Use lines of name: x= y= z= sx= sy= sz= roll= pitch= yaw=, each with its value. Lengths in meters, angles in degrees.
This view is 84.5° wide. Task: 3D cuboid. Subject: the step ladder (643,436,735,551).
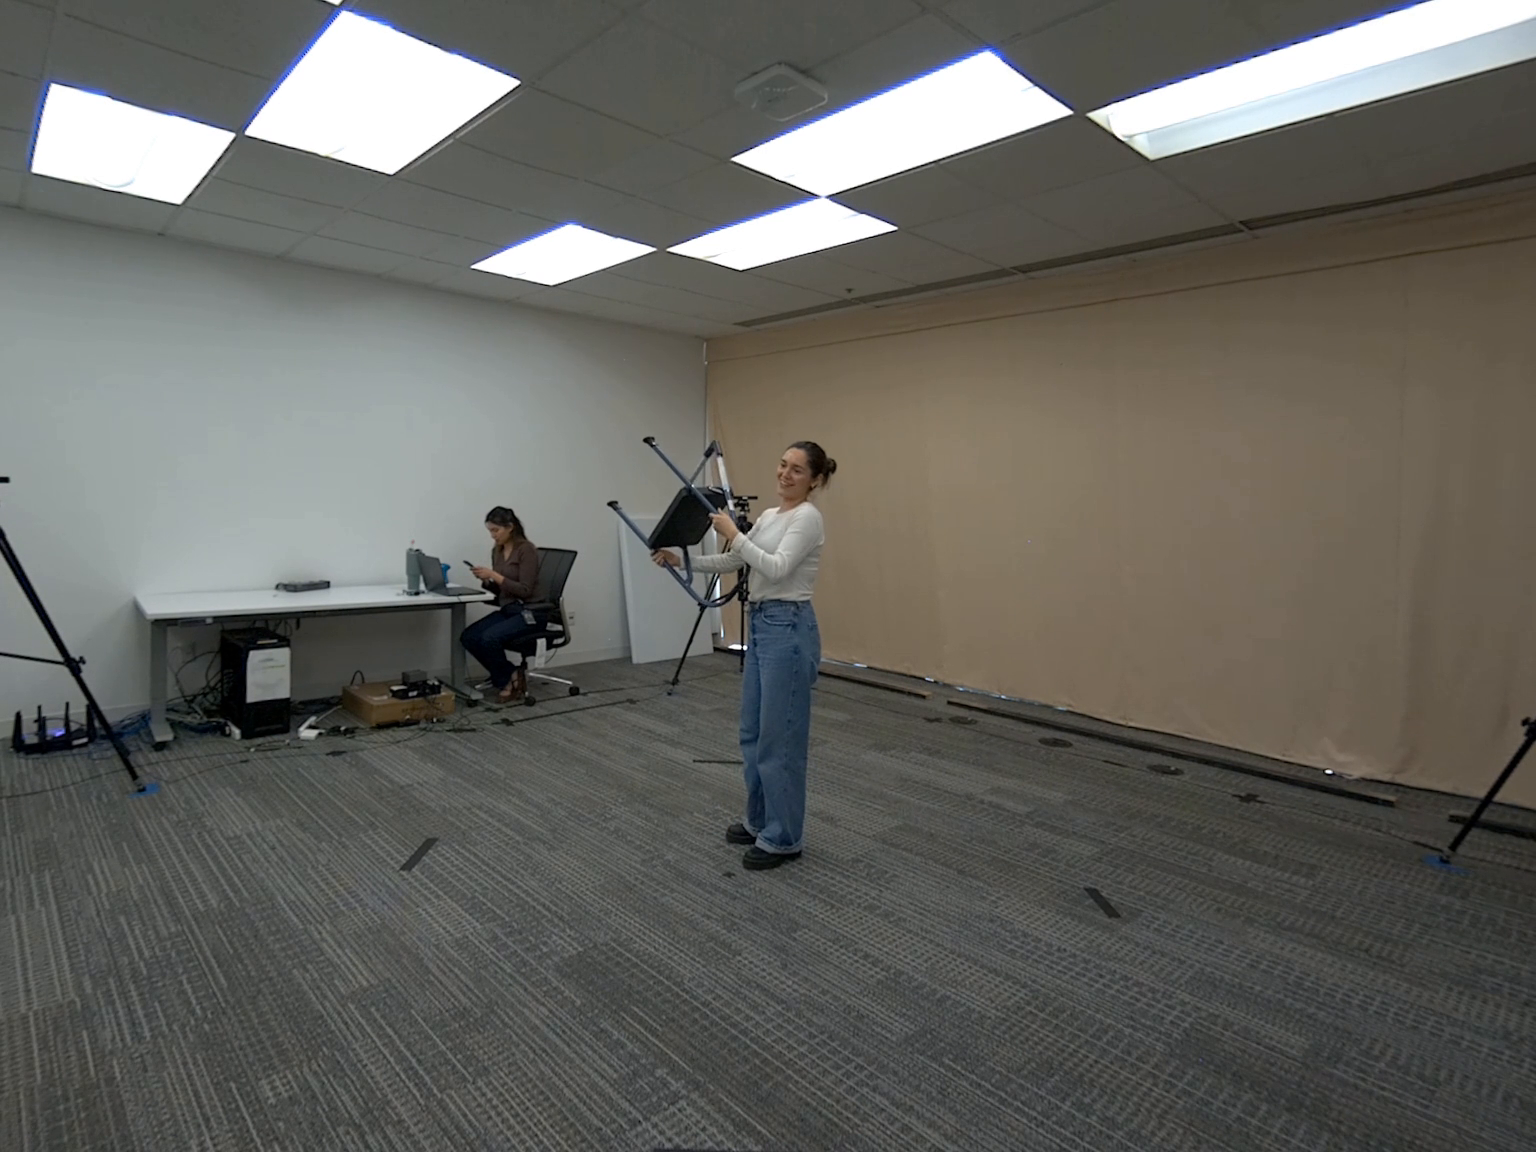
step ladder: x=-0.321 y=-0.175 z=3.332 sx=0.342 sy=0.620 sz=0.429 roll=-6 pitch=-32 yaw=-37
